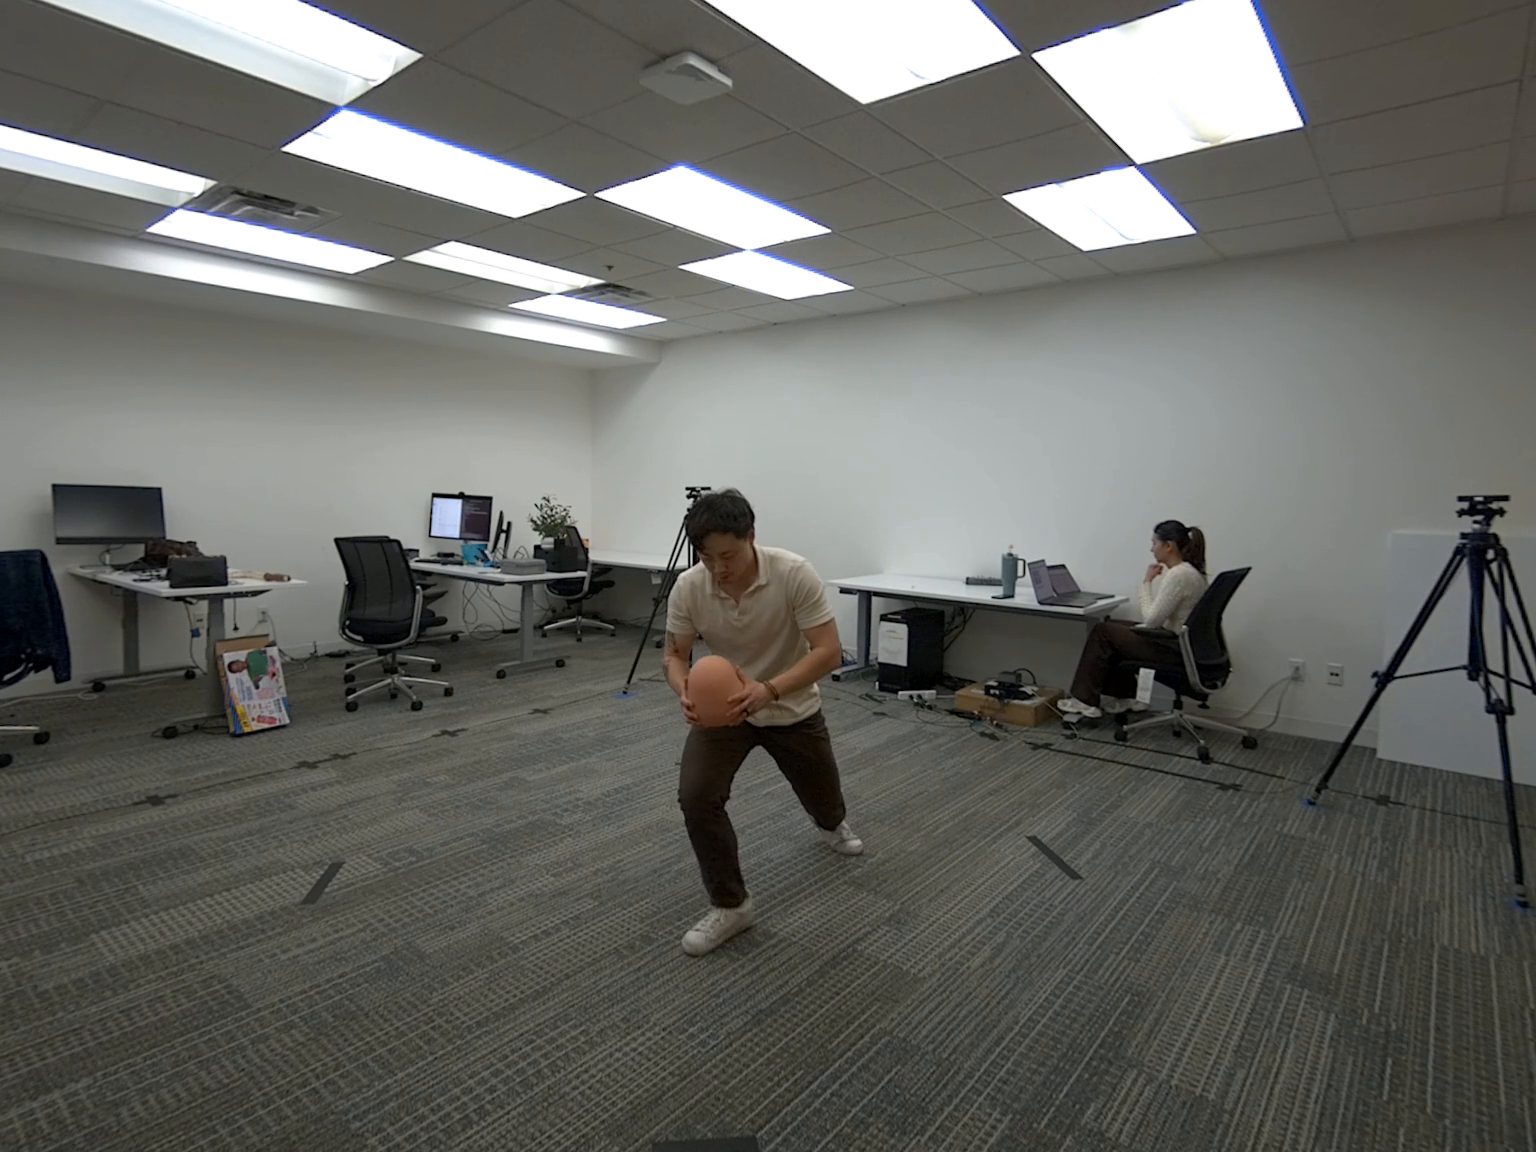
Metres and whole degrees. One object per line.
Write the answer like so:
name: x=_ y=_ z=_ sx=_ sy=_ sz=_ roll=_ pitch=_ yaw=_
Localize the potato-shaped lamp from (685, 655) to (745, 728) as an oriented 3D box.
potato-shaped lamp: x=-0.187 y=0.328 z=2.469 sx=0.168 sy=0.195 sz=0.170 roll=-17 pitch=16 yaw=-38
